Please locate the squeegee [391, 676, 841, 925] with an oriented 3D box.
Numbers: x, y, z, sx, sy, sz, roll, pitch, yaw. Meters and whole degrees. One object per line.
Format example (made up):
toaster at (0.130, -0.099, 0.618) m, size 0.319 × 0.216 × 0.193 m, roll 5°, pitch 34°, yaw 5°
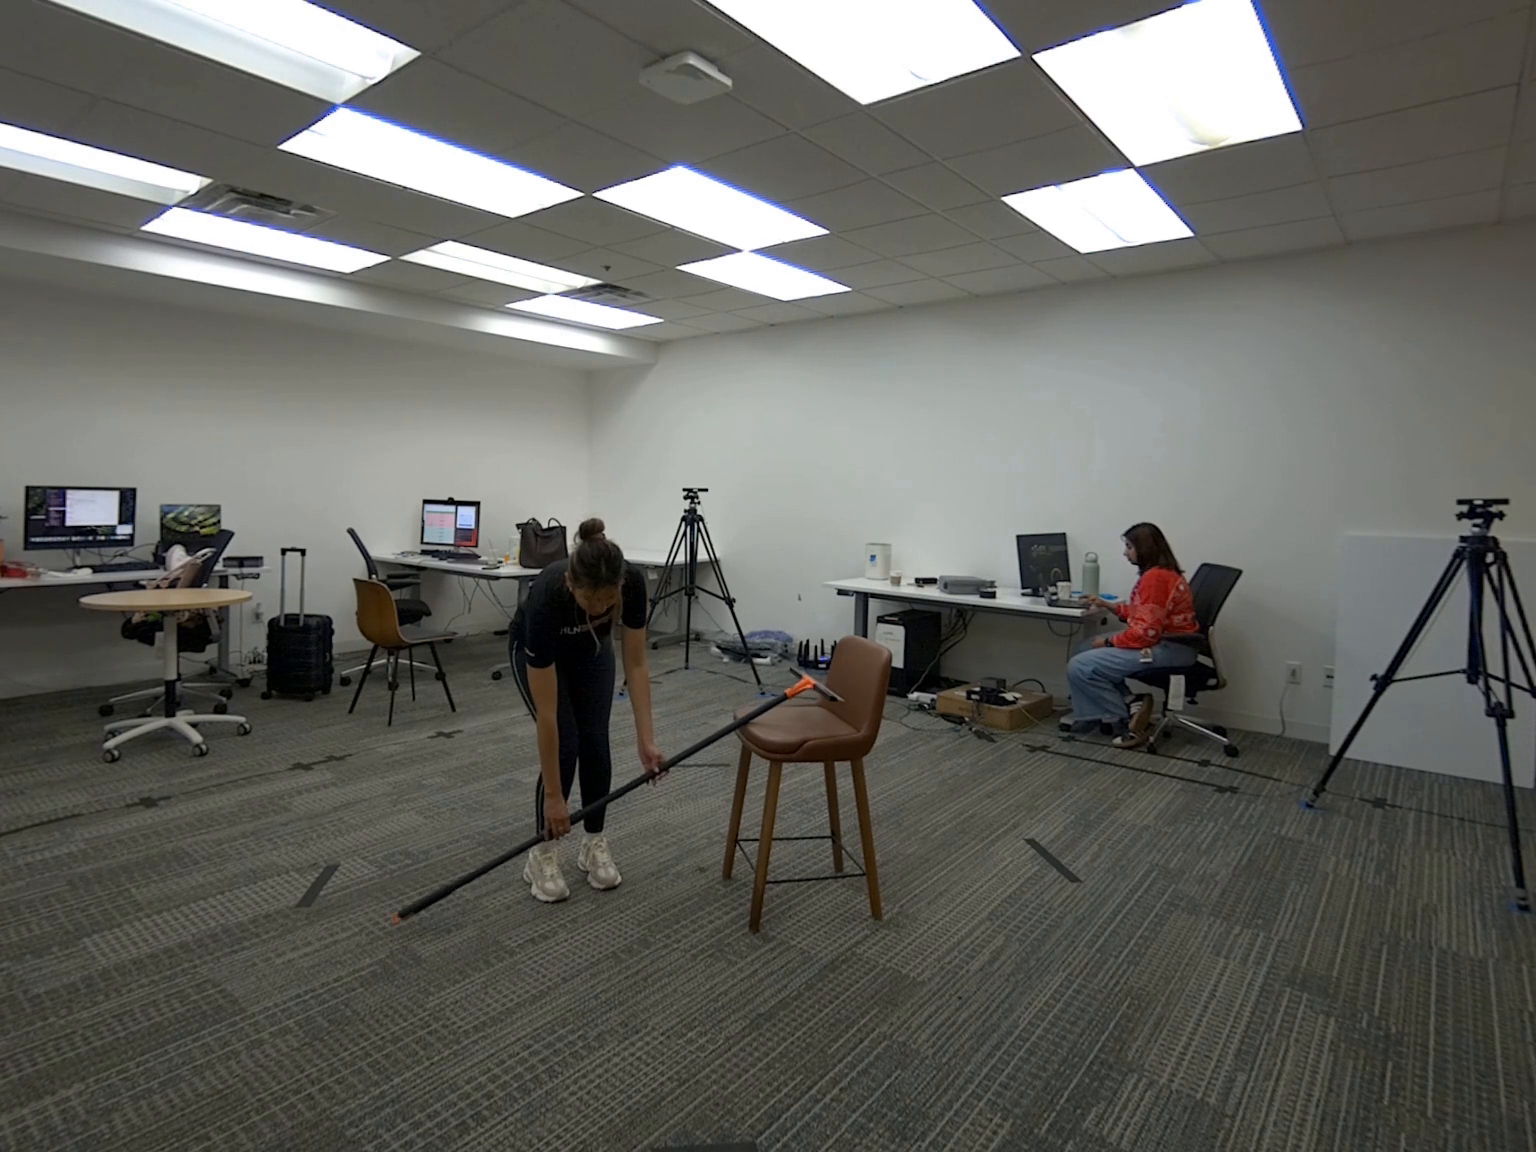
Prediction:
squeegee at (-0.504, 0.707, 2.732) m, size 1.531 × 0.453 × 0.051 m, roll -27°, pitch -28°, yaw -8°
